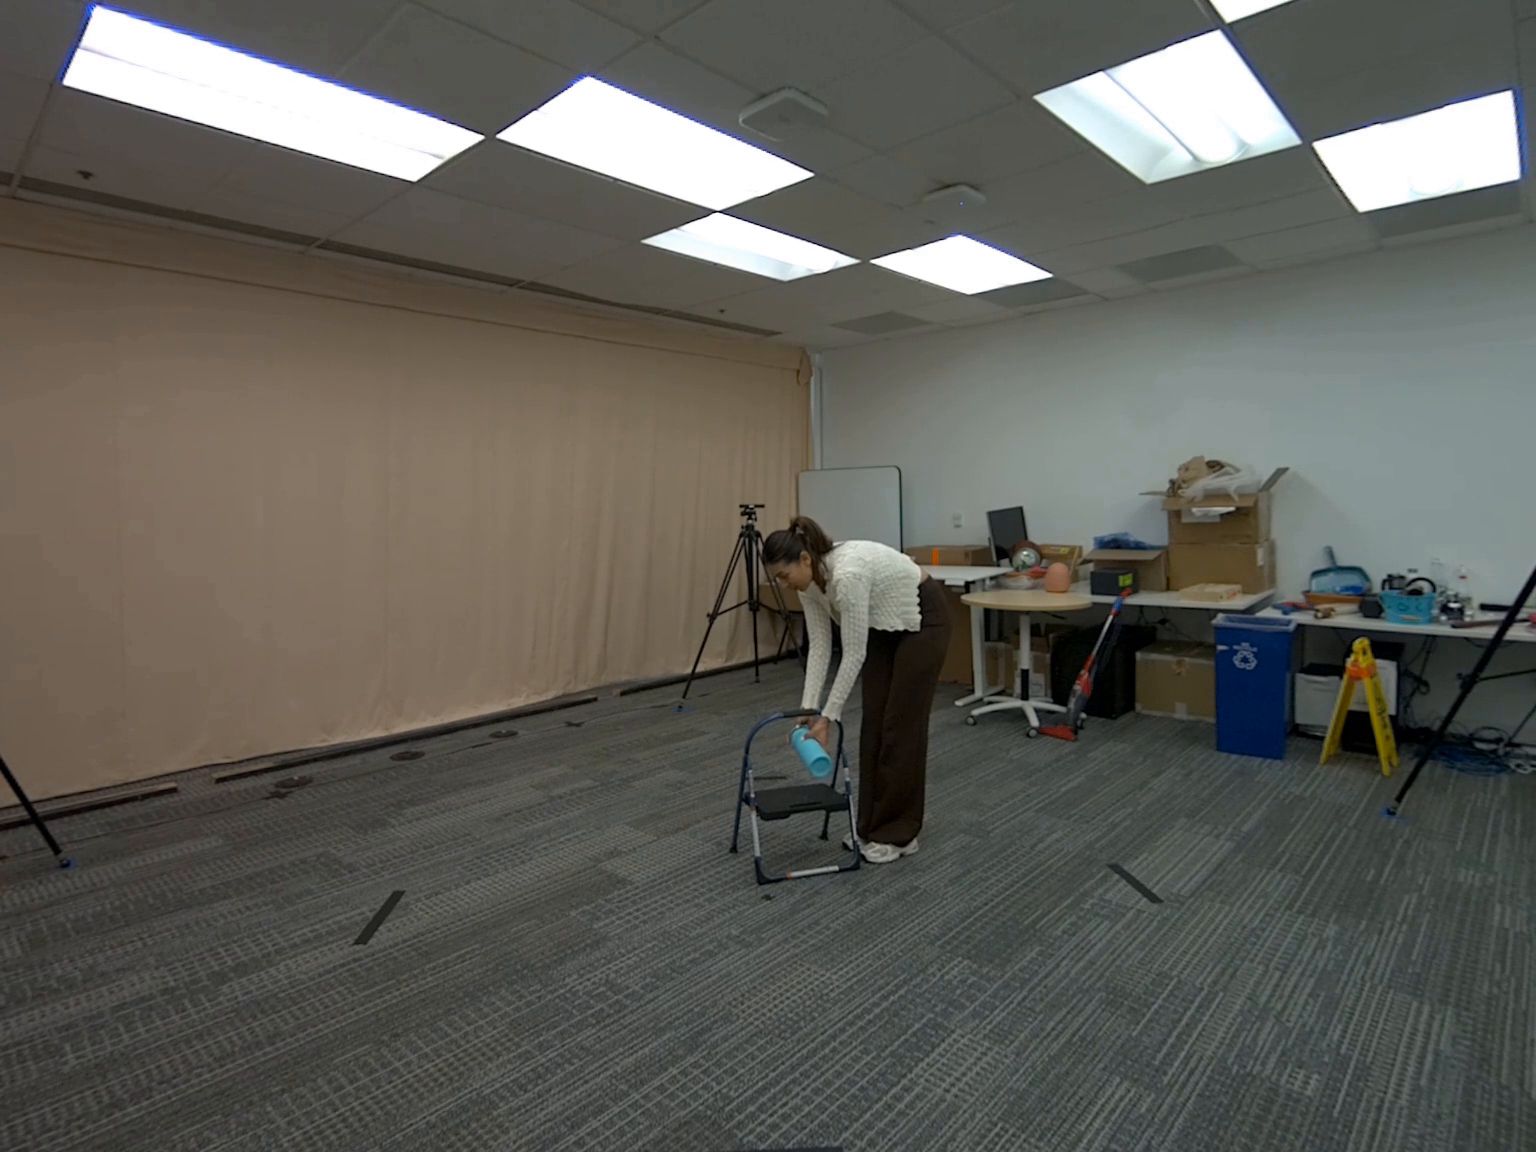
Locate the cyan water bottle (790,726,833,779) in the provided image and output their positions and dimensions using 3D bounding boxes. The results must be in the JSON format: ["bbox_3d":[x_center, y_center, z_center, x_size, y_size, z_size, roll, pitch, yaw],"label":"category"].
[{"bbox_3d":[0.148,0.646,3.168,0.091,0.091,0.289,-2,17,-12],"label":"cyan water bottle"}]
